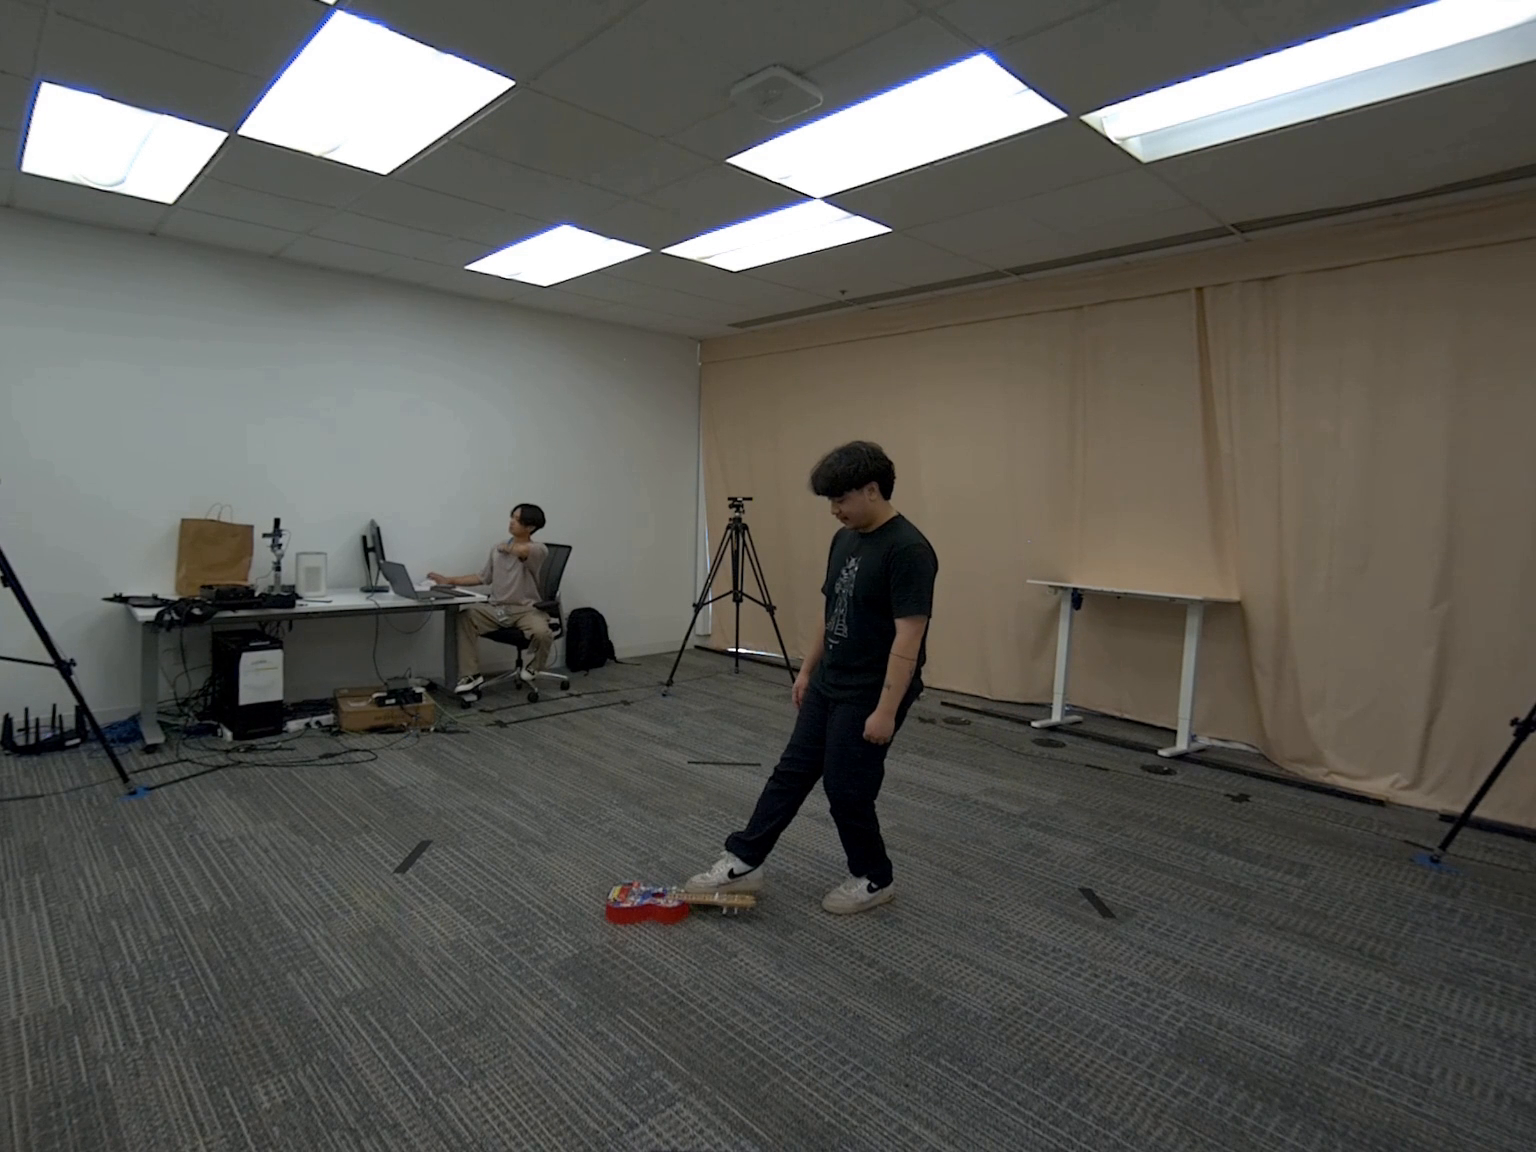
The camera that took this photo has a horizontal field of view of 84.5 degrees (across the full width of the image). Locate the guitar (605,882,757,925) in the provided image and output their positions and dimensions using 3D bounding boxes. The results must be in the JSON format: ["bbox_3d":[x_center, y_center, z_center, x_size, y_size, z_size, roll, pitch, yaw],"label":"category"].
[{"bbox_3d":[-0.291,1.095,2.790,0.503,0.070,0.191,2,5,13],"label":"guitar"}]
